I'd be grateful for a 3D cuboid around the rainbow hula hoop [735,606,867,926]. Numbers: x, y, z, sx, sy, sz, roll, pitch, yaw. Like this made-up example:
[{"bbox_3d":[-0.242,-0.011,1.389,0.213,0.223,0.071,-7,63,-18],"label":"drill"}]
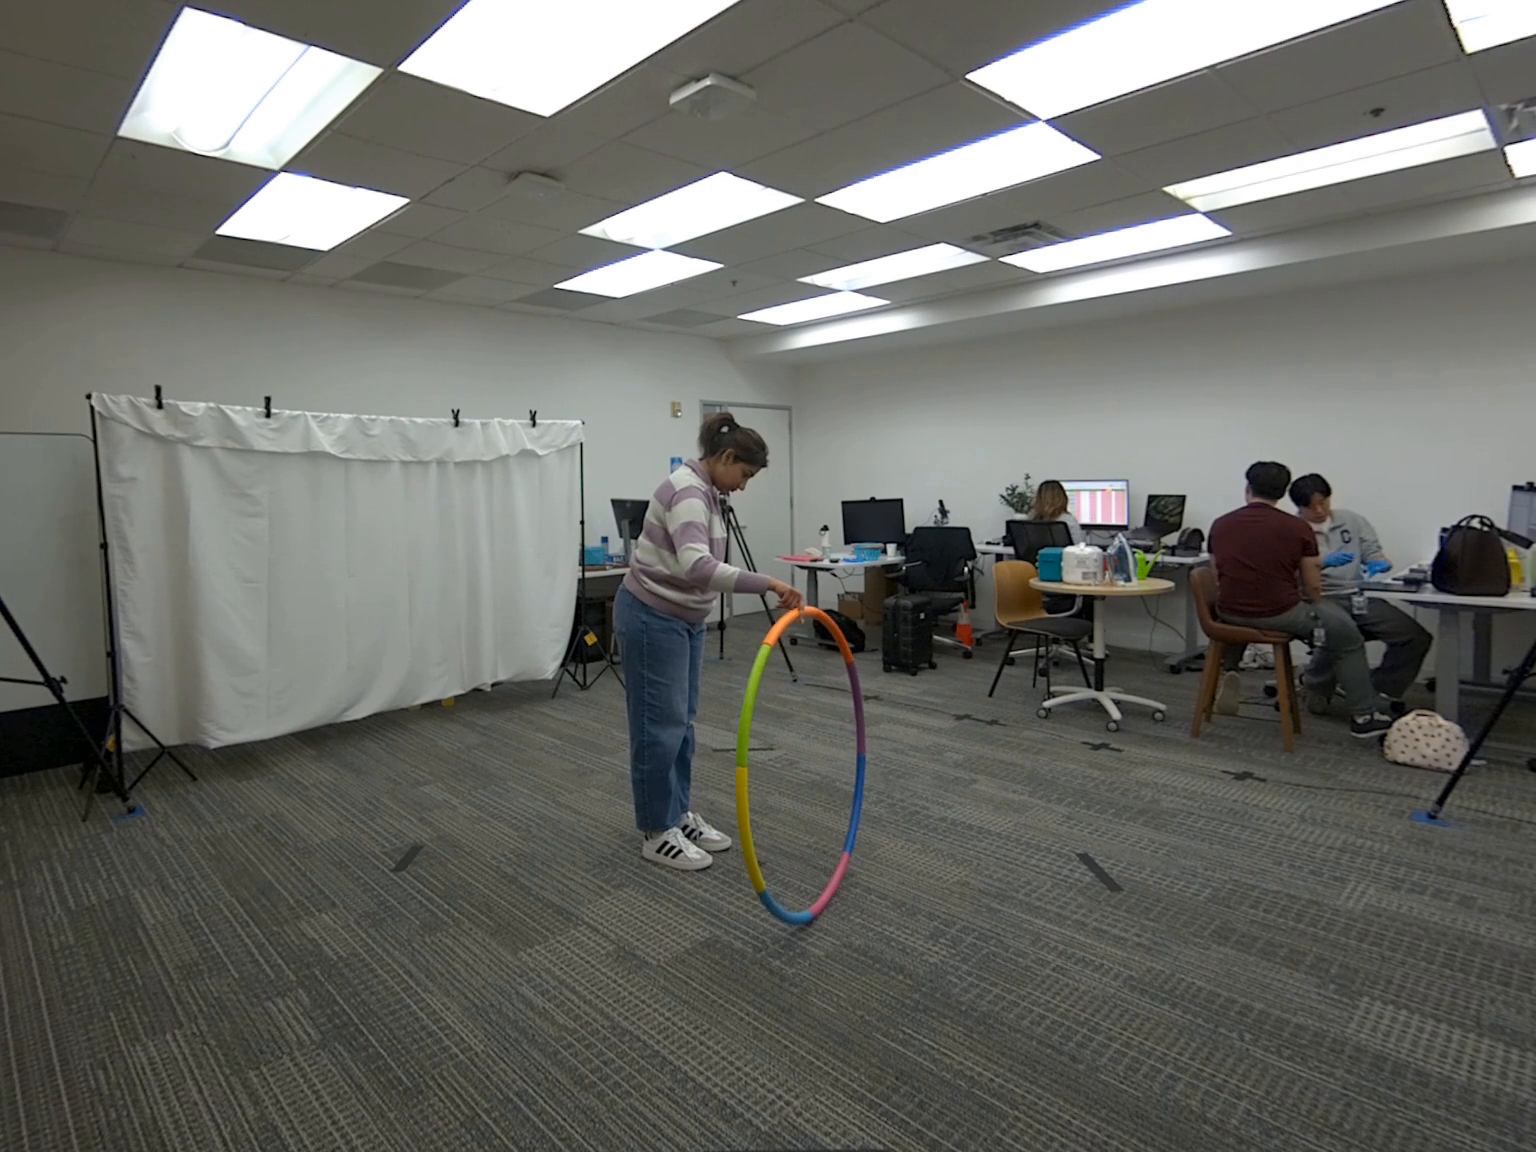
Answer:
[{"bbox_3d":[0.139,0.594,2.766,0.036,0.977,0.959,-5,2,27],"label":"rainbow hula hoop"}]
